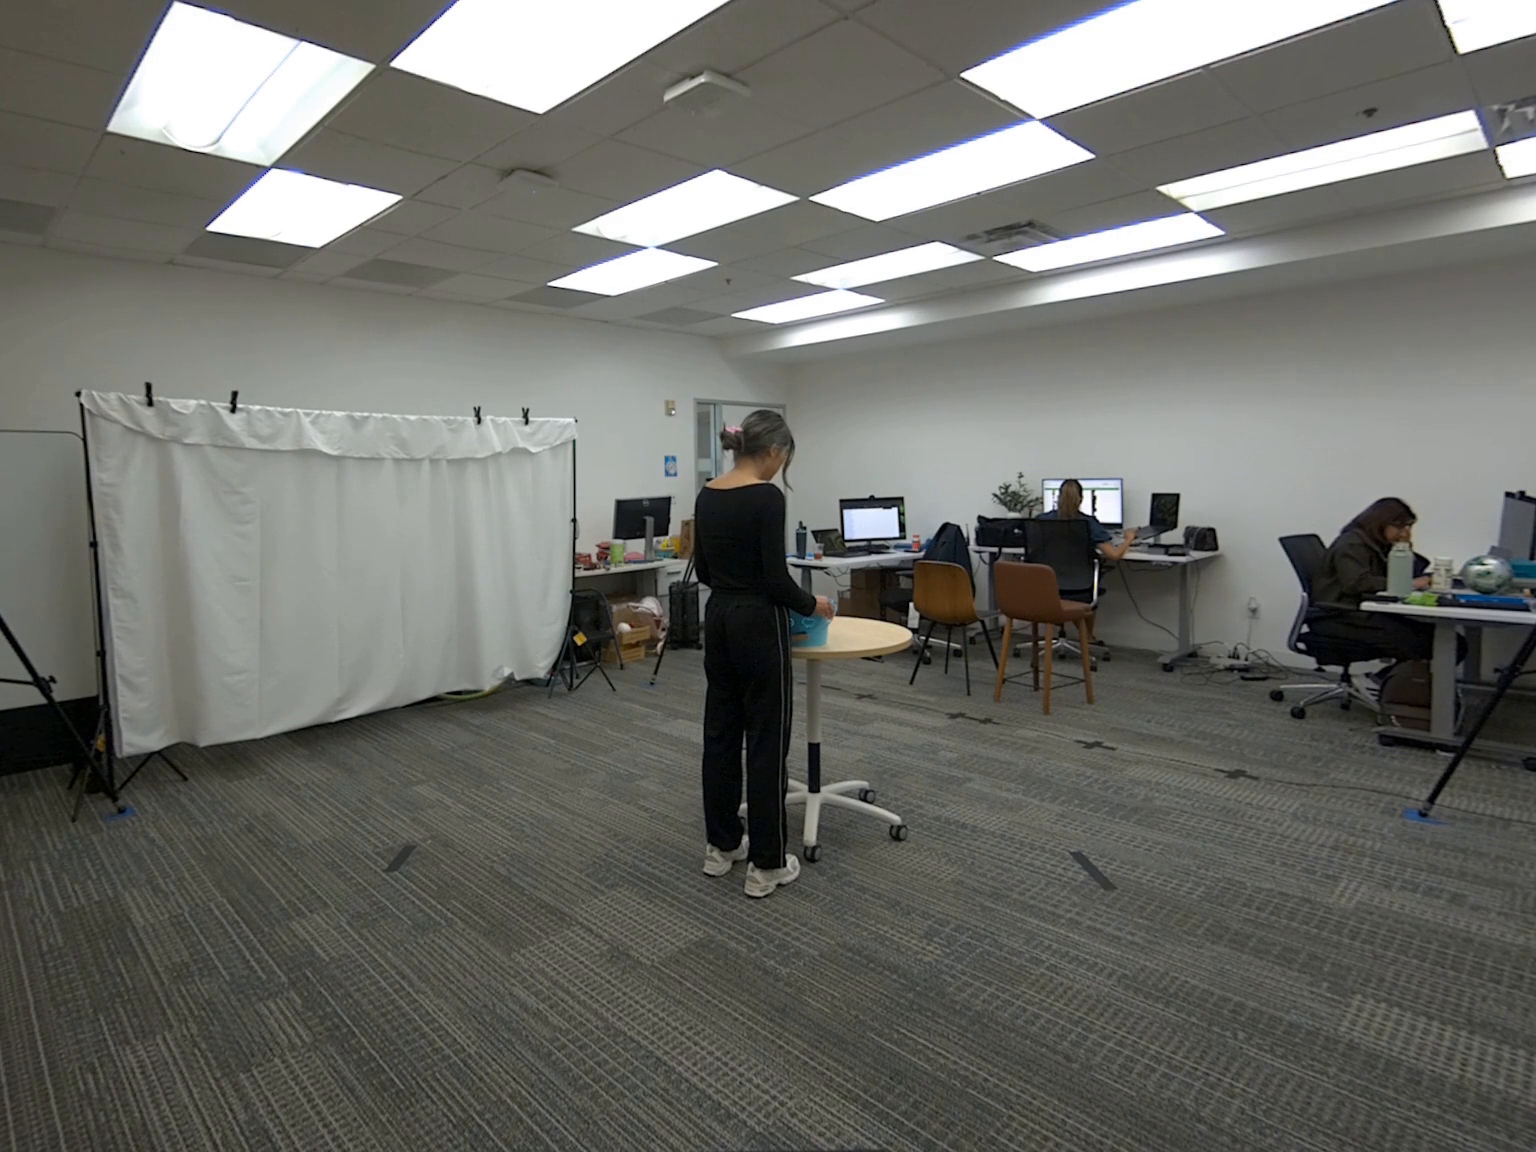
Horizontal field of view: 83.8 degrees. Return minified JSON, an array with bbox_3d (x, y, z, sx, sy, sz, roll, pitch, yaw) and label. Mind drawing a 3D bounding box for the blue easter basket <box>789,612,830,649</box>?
[{"bbox_3d":[0.133,0.173,3.168,0.243,0.155,0.245,-2,6,-2],"label":"blue easter basket"}]
